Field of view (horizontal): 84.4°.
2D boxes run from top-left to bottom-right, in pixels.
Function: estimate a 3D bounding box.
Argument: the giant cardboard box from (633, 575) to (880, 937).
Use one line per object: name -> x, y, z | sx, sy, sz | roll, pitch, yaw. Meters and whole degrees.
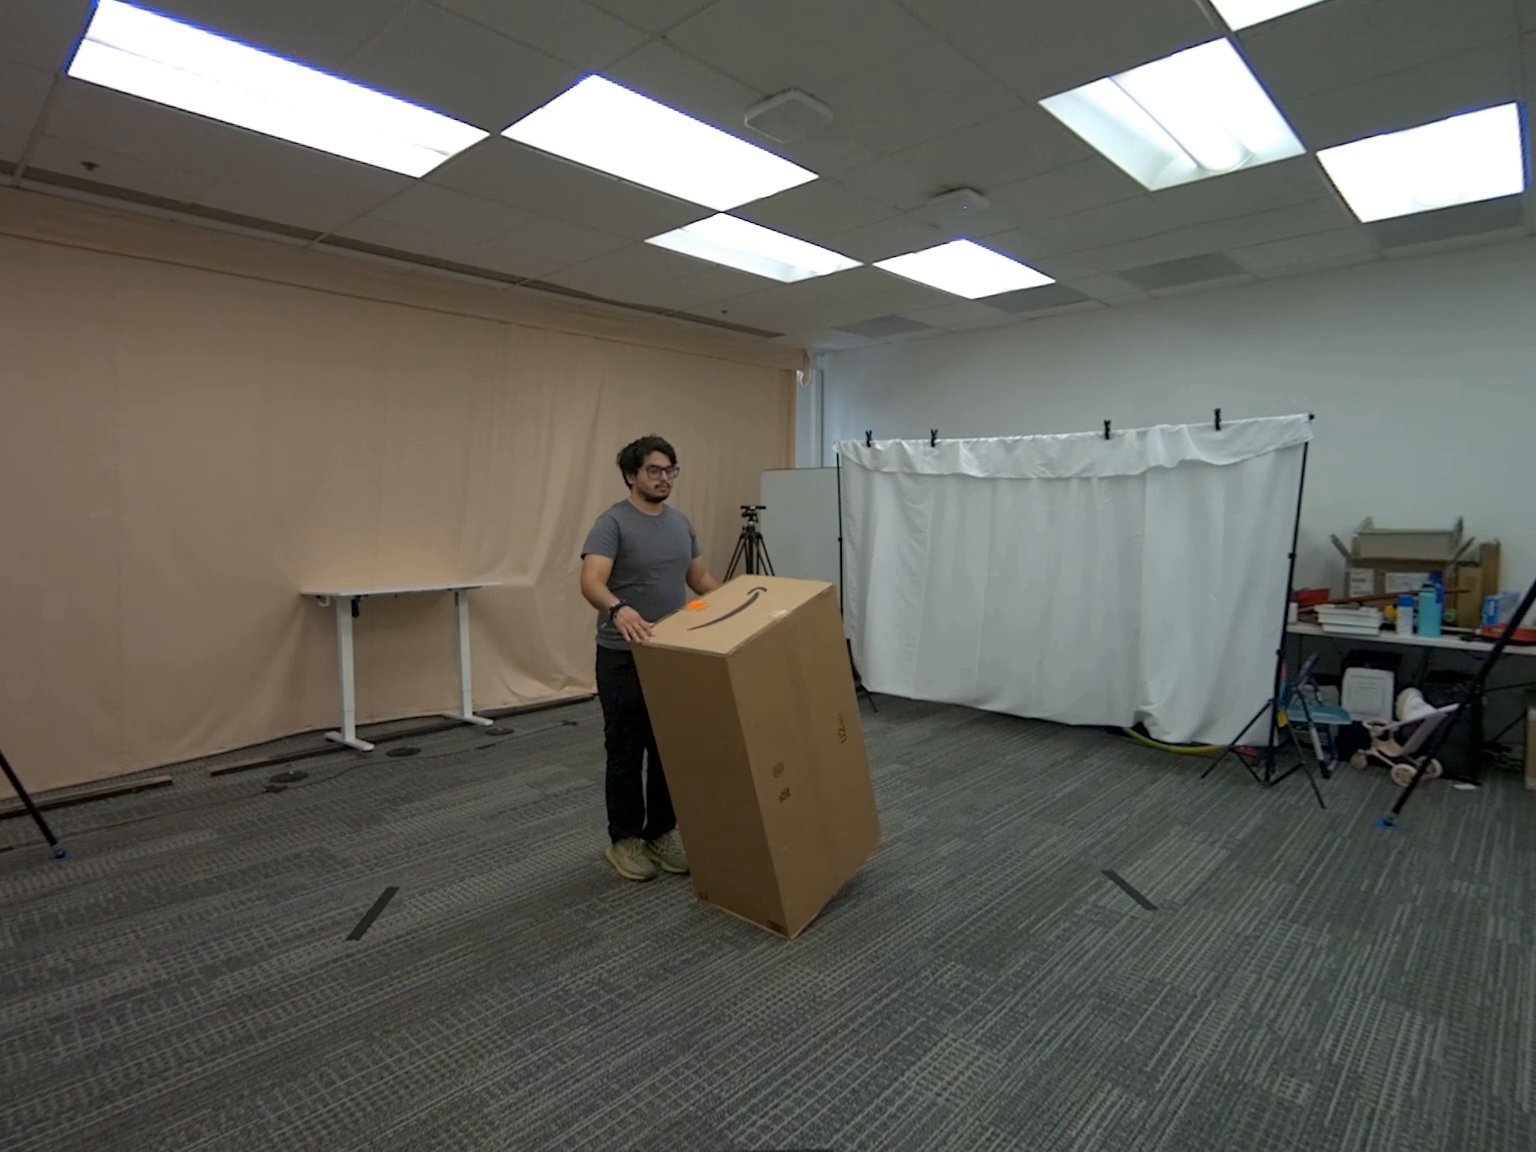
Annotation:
giant cardboard box -> -0.009, 0.586, 2.887 | 0.440, 1.013, 0.566 | 3, 22, 42
